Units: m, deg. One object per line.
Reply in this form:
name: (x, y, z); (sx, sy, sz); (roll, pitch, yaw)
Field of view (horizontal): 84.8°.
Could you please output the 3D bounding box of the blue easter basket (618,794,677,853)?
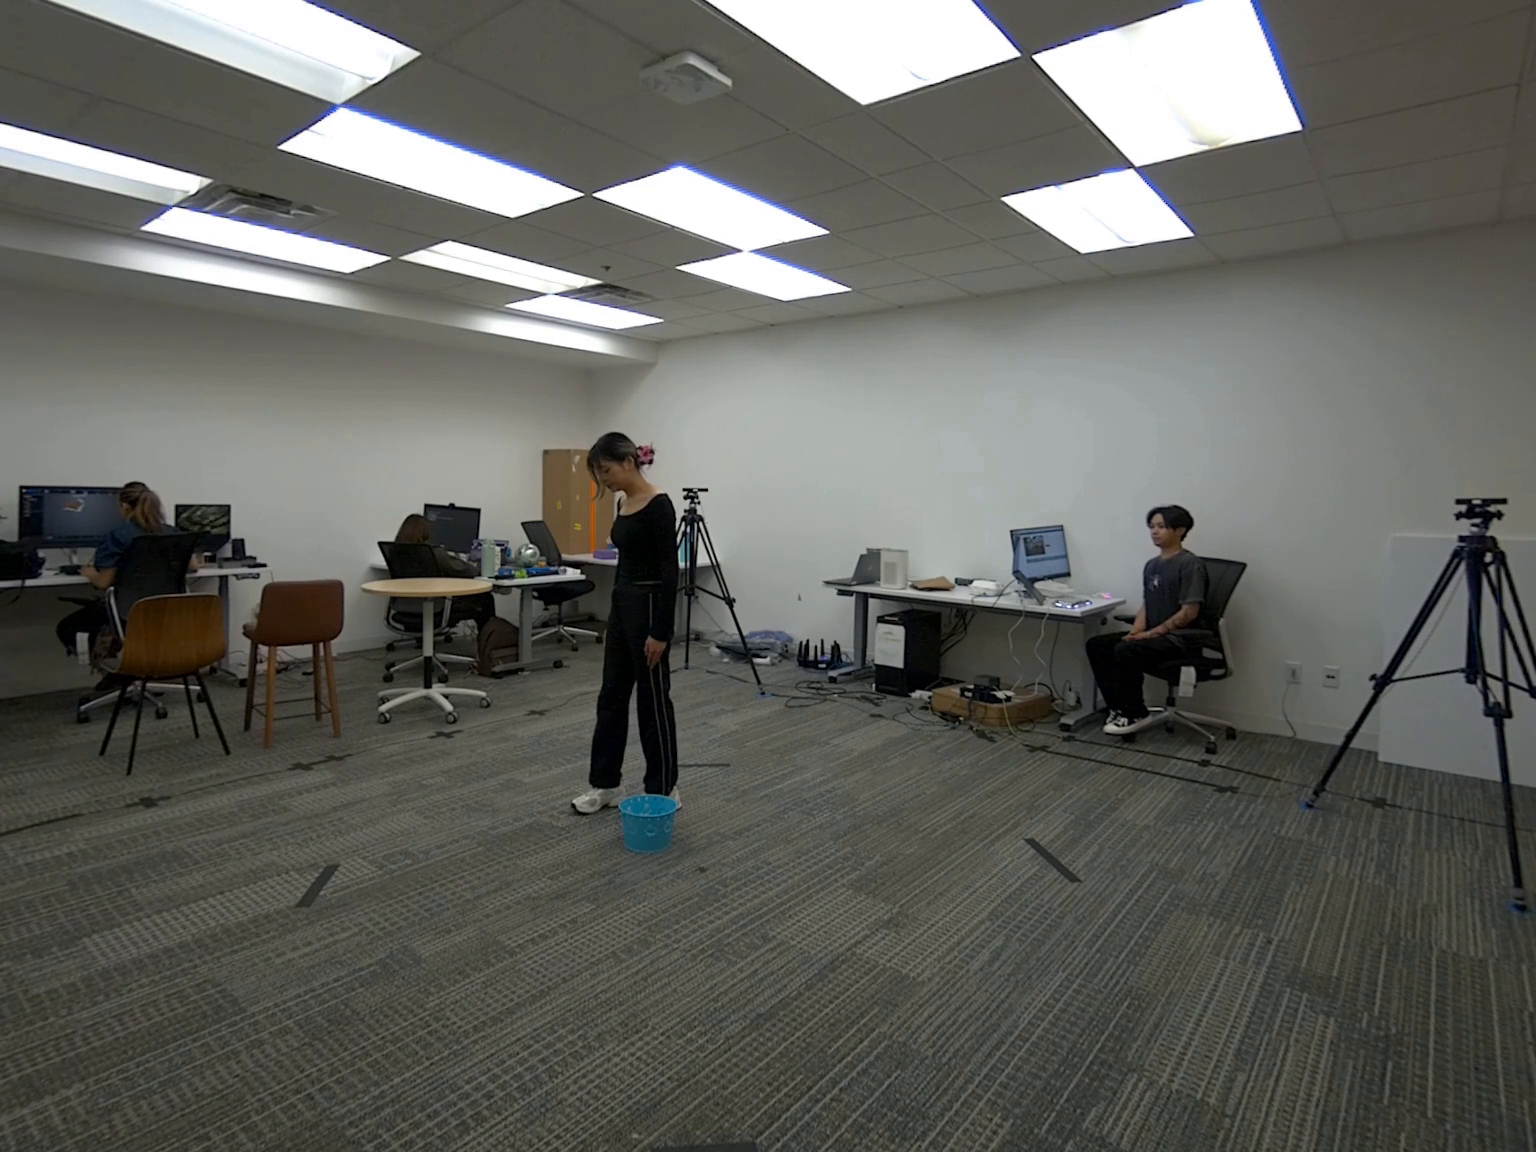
blue easter basket: (-0.483, 0.966, 3.337); (0.243, 0.155, 0.245); (1, 5, -2)
